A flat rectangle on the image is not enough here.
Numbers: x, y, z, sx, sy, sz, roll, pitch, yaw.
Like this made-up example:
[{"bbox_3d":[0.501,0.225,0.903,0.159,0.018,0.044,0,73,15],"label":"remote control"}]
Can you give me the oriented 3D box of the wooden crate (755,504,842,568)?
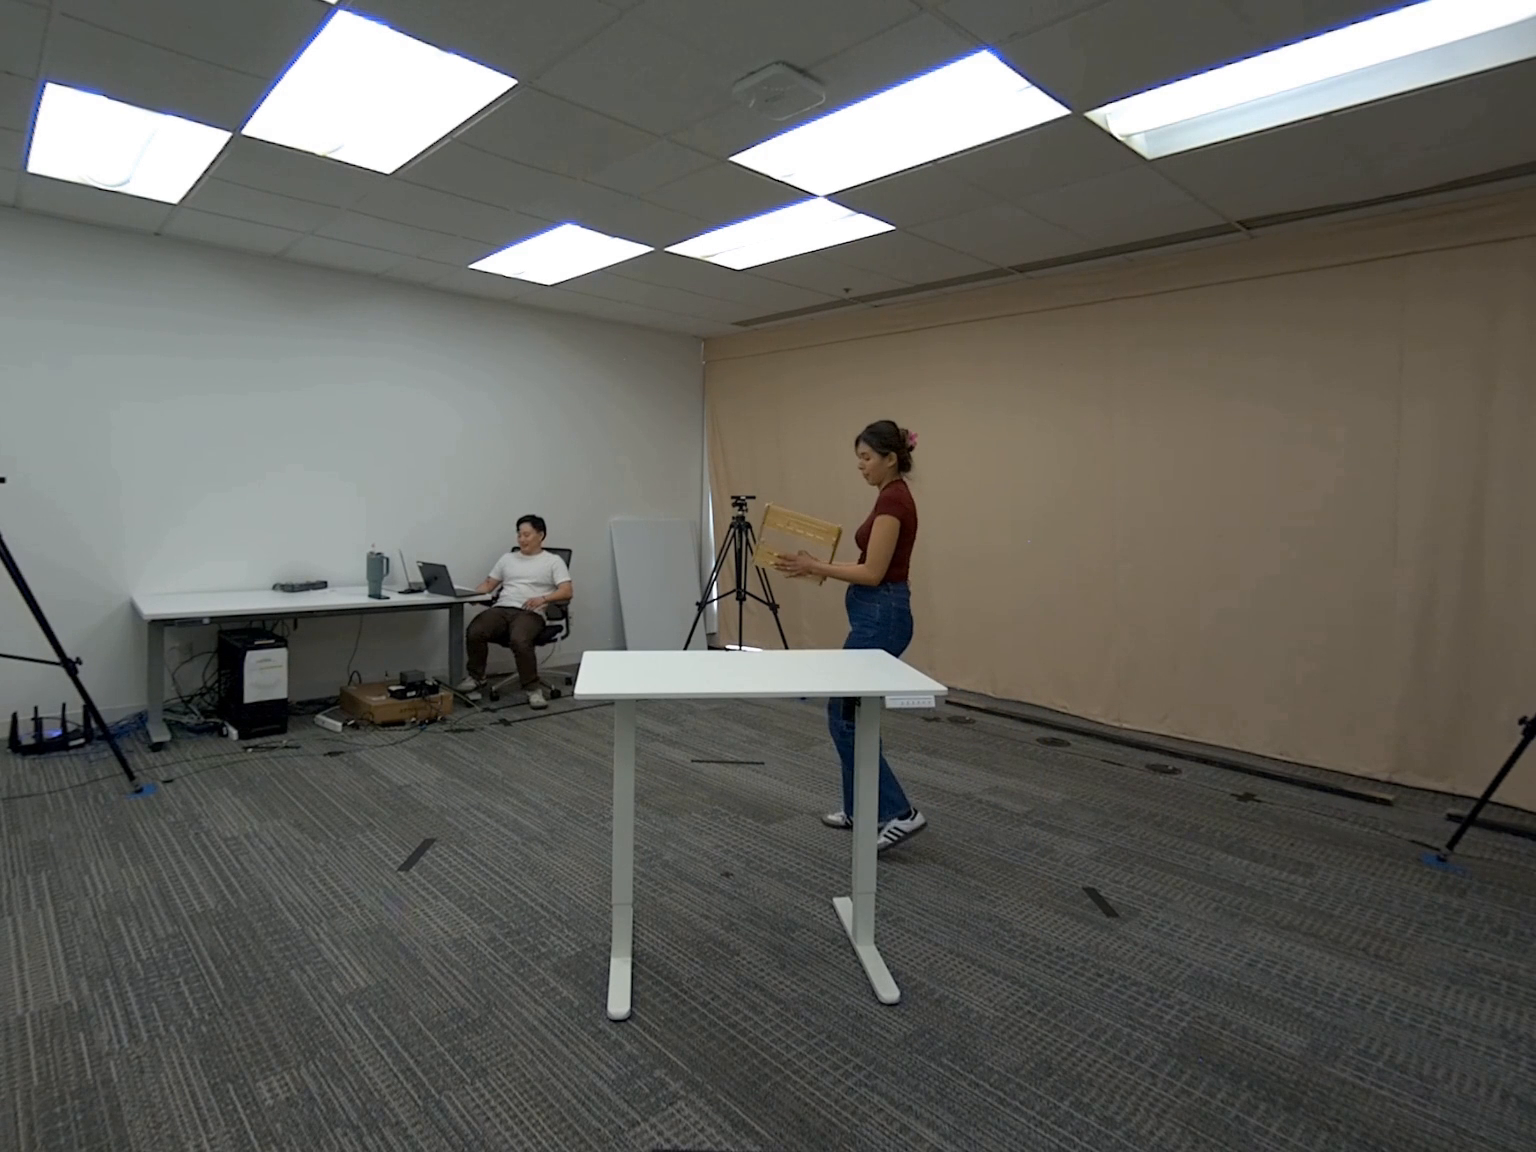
[{"bbox_3d":[0.123,-0.139,3.491,0.327,0.272,0.301,18,8,6],"label":"wooden crate"}]
